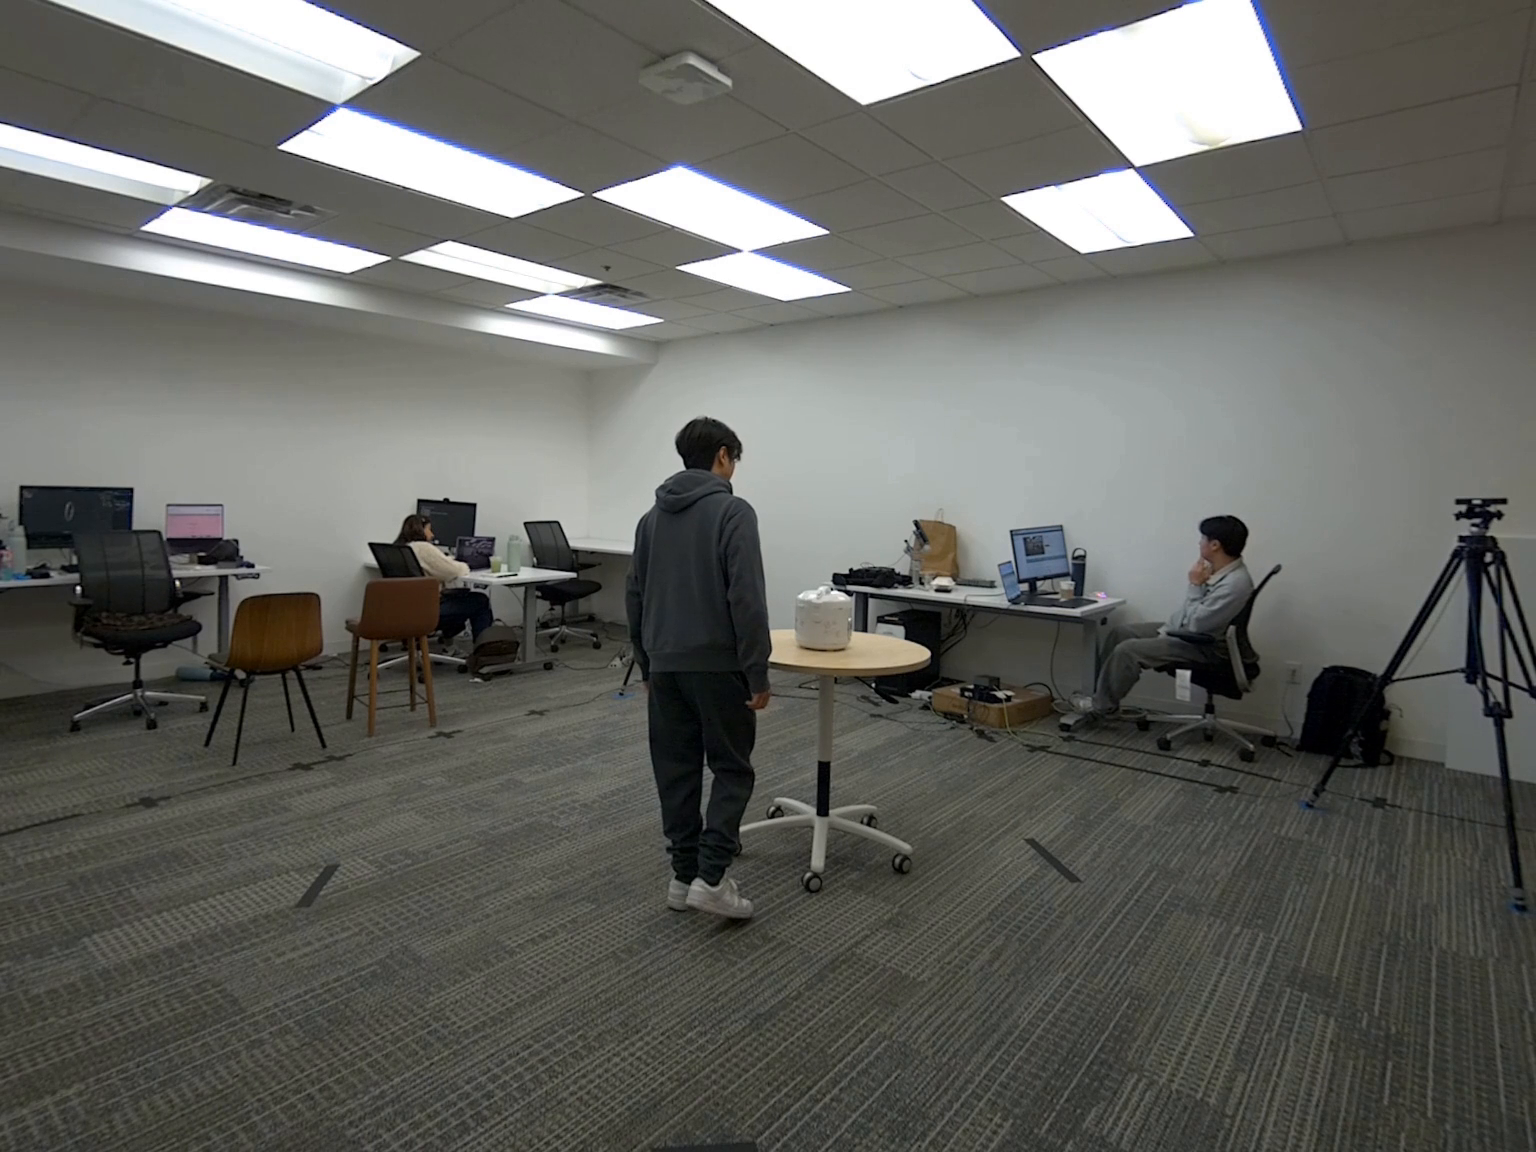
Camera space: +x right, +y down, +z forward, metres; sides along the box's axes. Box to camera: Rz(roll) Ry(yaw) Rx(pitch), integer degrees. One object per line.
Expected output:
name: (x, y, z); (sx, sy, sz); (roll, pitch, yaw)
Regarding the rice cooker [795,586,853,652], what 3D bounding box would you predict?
rice cooker: (0.206, 0.152, 3.244); (0.222, 0.232, 0.217); (2, 5, 19)
